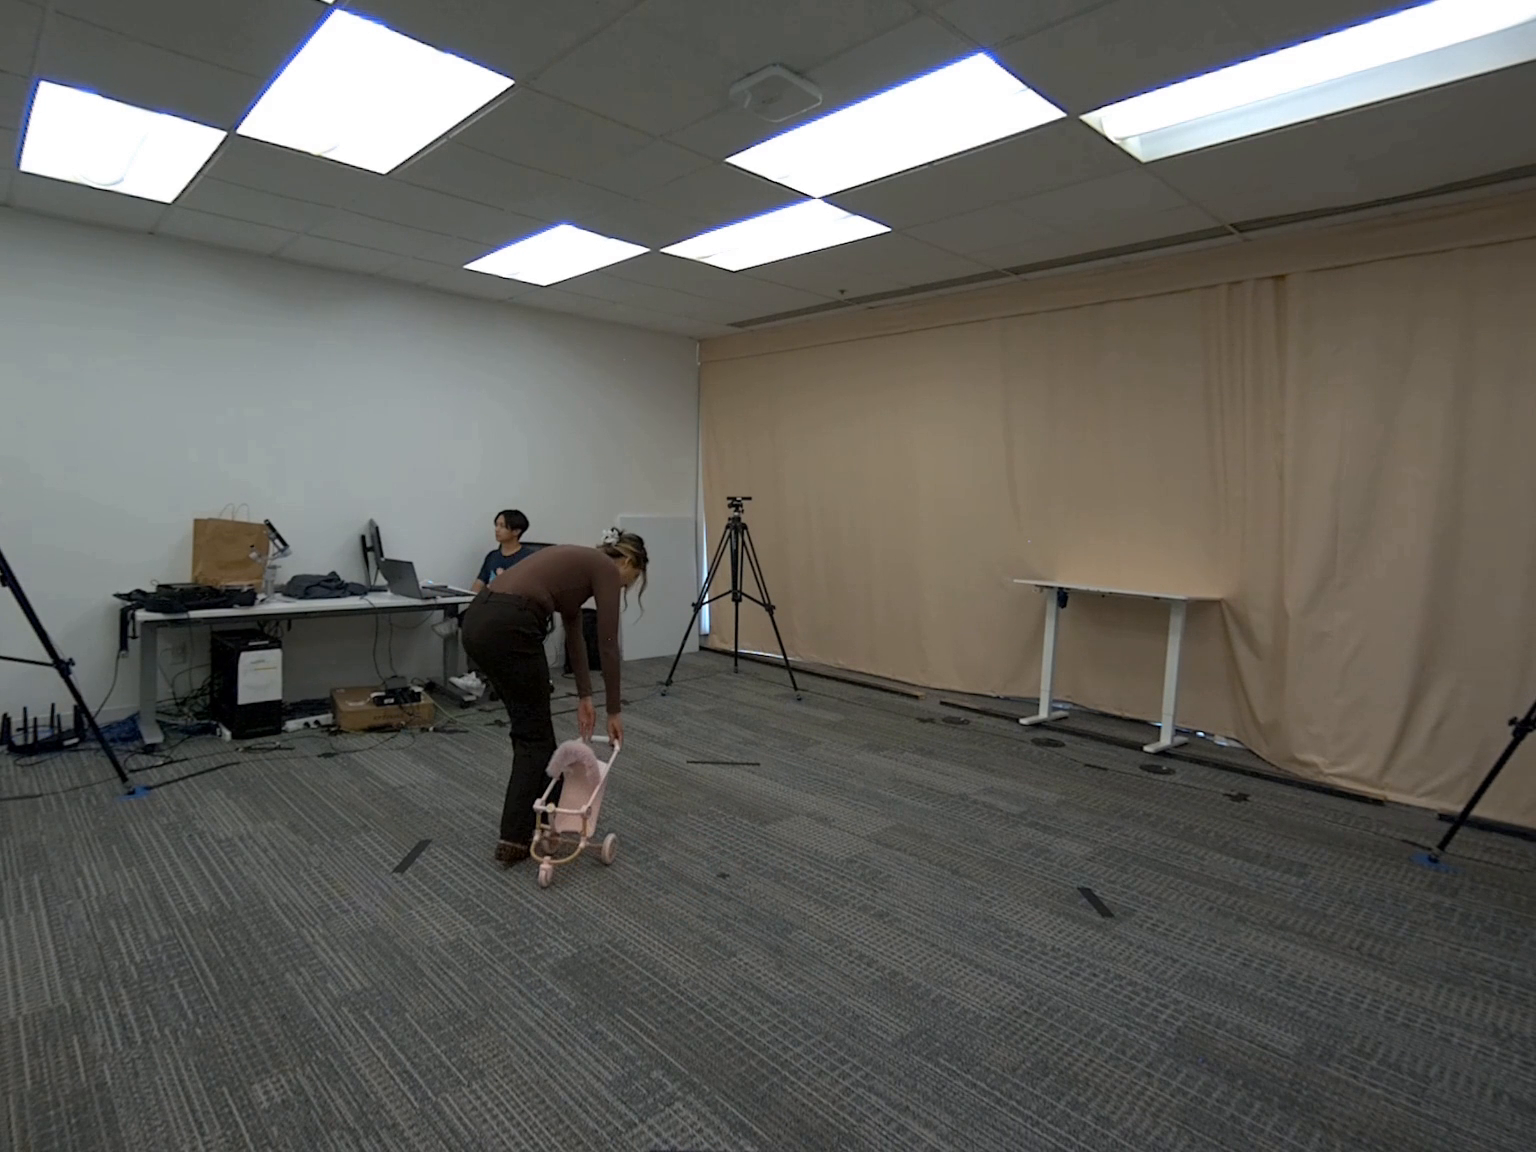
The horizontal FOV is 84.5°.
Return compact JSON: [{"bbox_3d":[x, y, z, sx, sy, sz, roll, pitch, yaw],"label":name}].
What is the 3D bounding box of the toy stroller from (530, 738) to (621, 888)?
[{"bbox_3d":[-0.737,0.864,3.156,0.286,0.539,0.333,1,-14,20],"label":"toy stroller"}]
